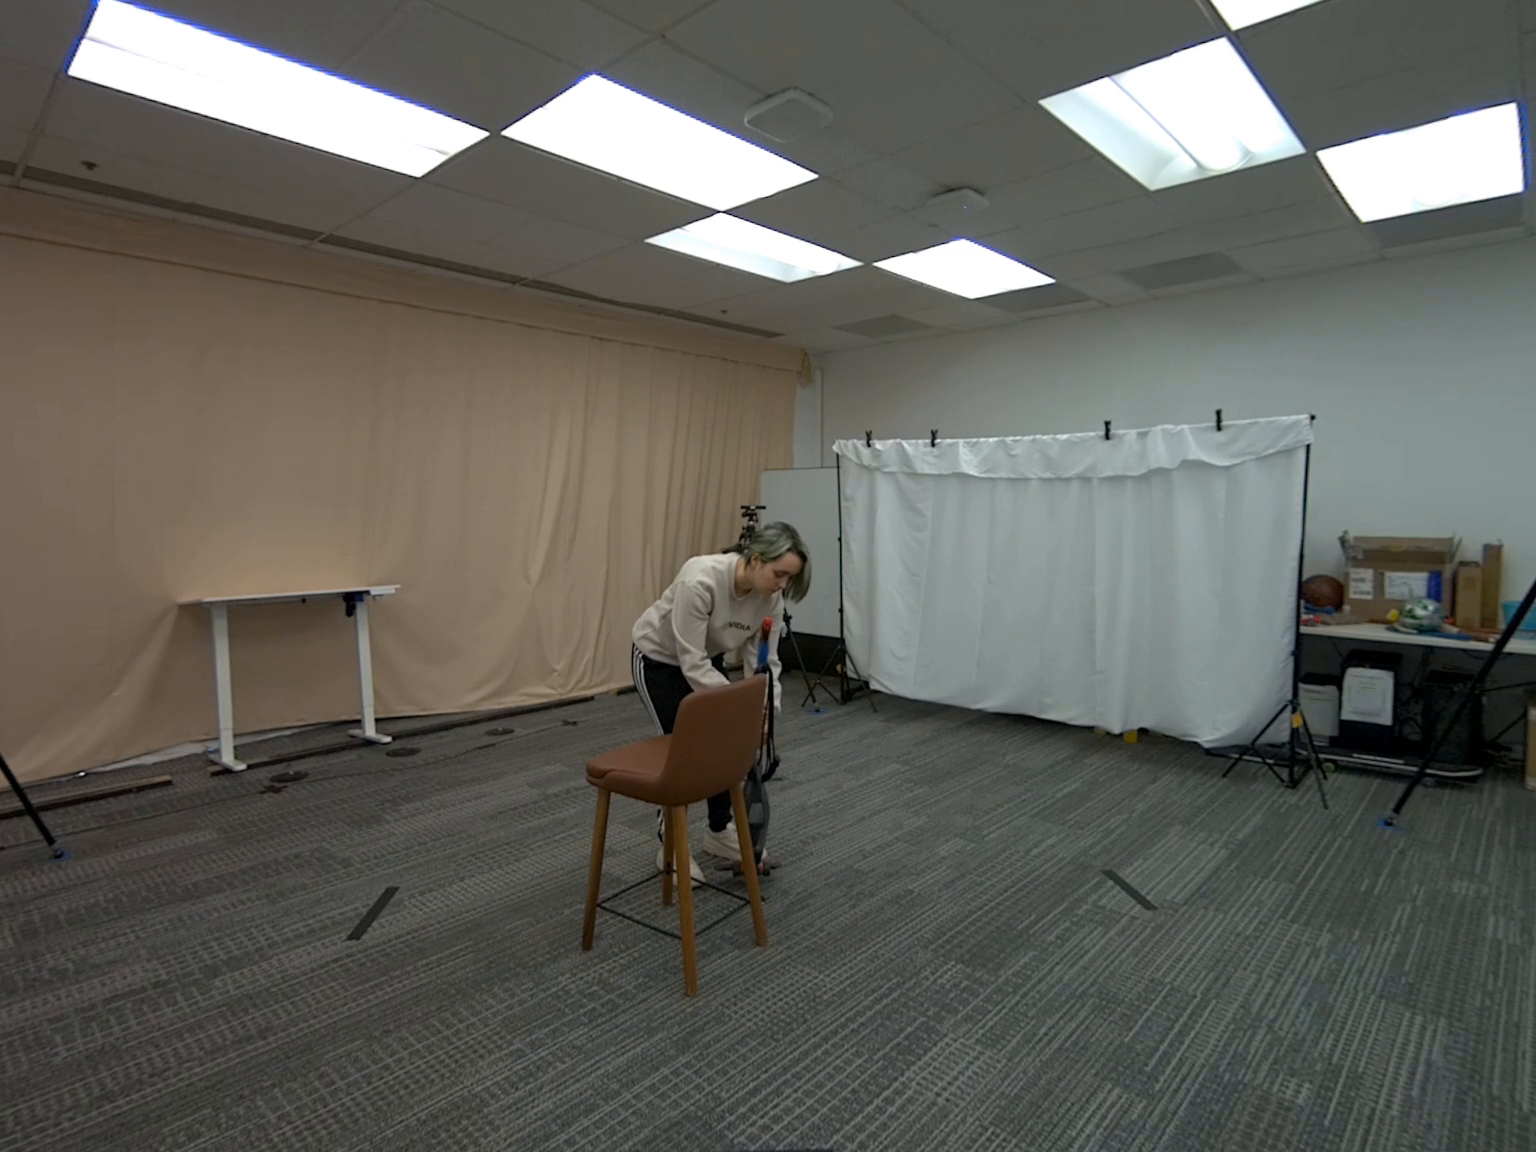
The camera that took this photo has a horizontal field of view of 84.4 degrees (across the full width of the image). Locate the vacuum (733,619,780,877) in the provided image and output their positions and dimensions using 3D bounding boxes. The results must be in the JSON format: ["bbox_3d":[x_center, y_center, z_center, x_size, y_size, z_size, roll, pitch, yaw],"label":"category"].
[{"bbox_3d":[-0.029,0.607,2.857,0.248,1.036,0.148,-4,27,-19],"label":"vacuum"}]
